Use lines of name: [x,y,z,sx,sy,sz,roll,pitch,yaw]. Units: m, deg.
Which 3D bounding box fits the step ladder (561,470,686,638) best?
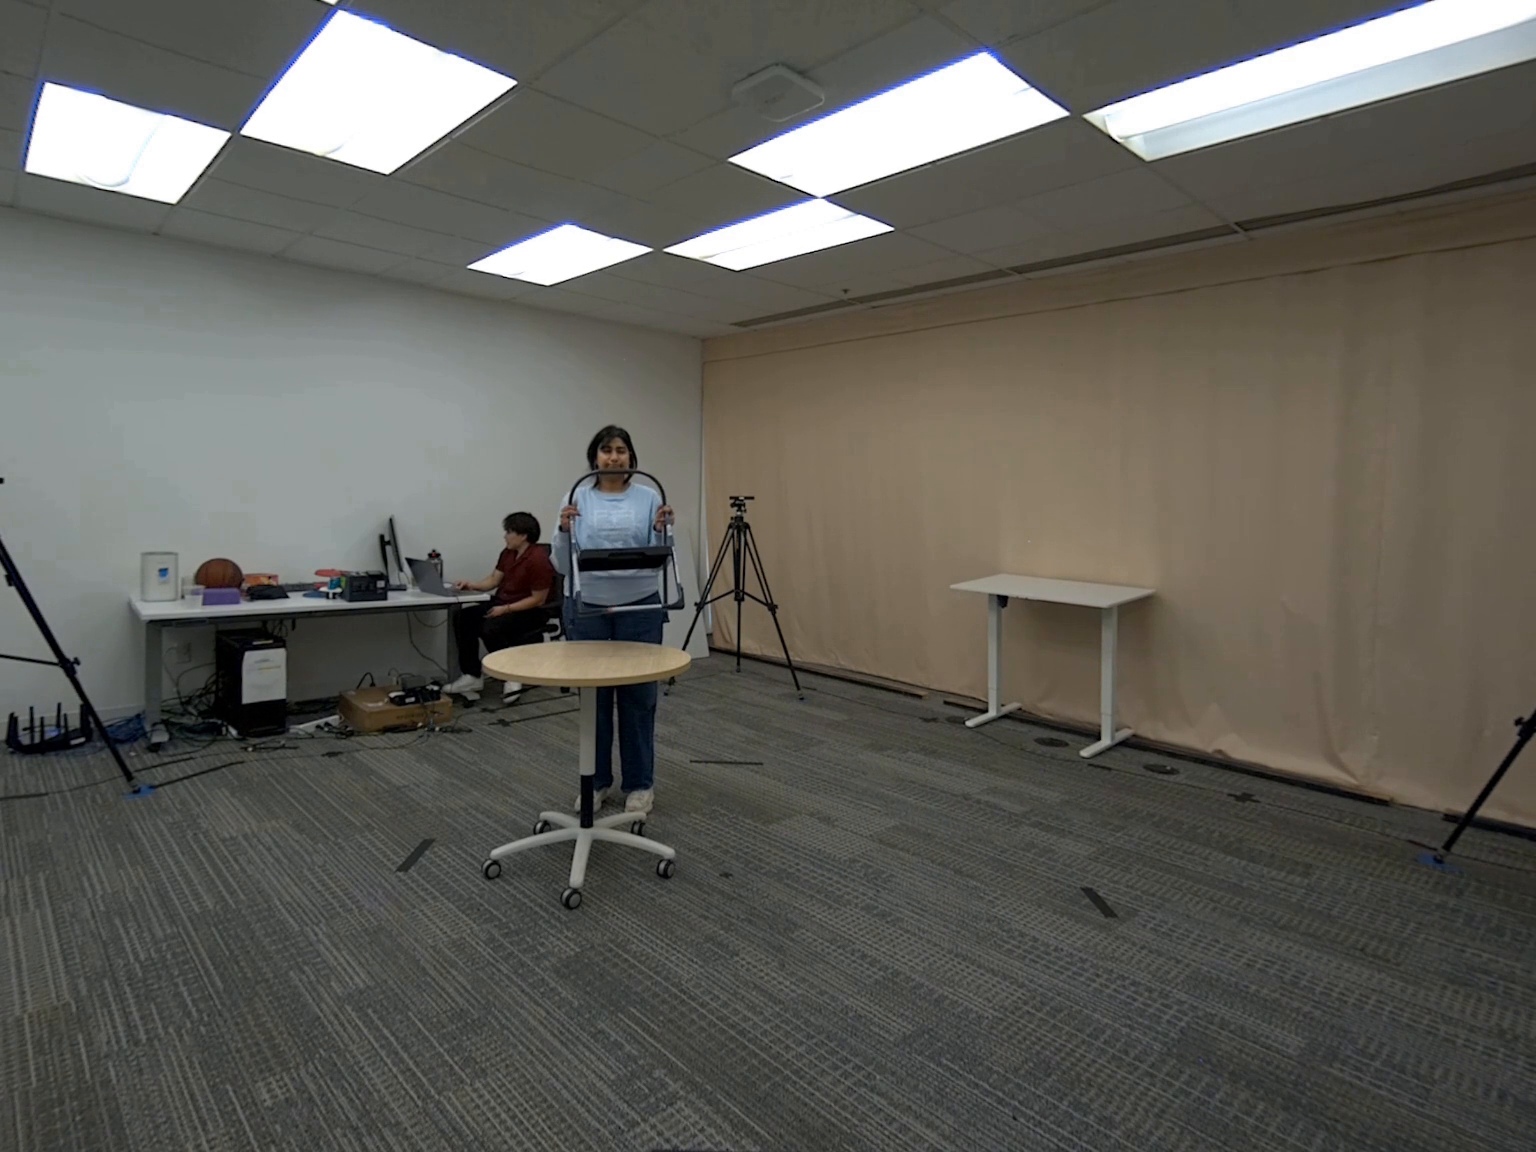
step ladder: [-0.617,-0.122,3.430,0.425,0.612,0.351,-3,-11,-19]
